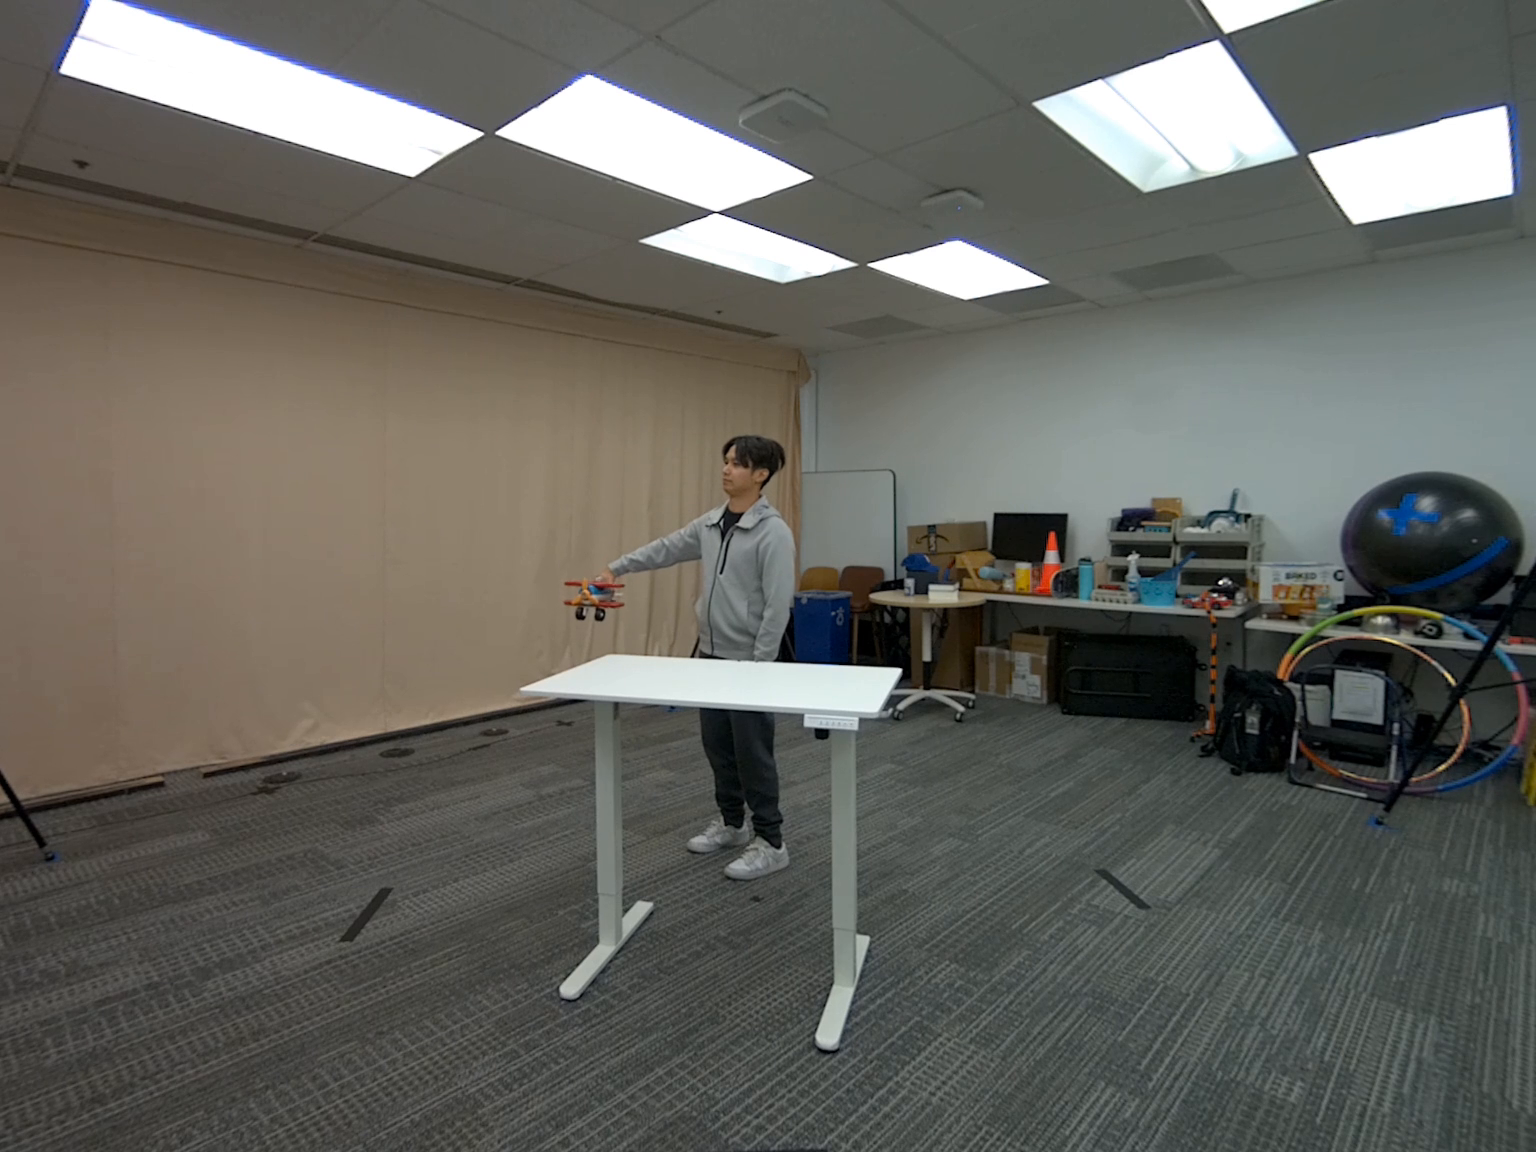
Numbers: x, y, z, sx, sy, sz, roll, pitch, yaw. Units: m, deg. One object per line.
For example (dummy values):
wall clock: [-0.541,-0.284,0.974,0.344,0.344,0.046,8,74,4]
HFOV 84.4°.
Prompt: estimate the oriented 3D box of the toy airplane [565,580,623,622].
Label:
toy airplane: [-0.718,0.074,3.461,0.249,0.155,0.264,-6,15,-8]
